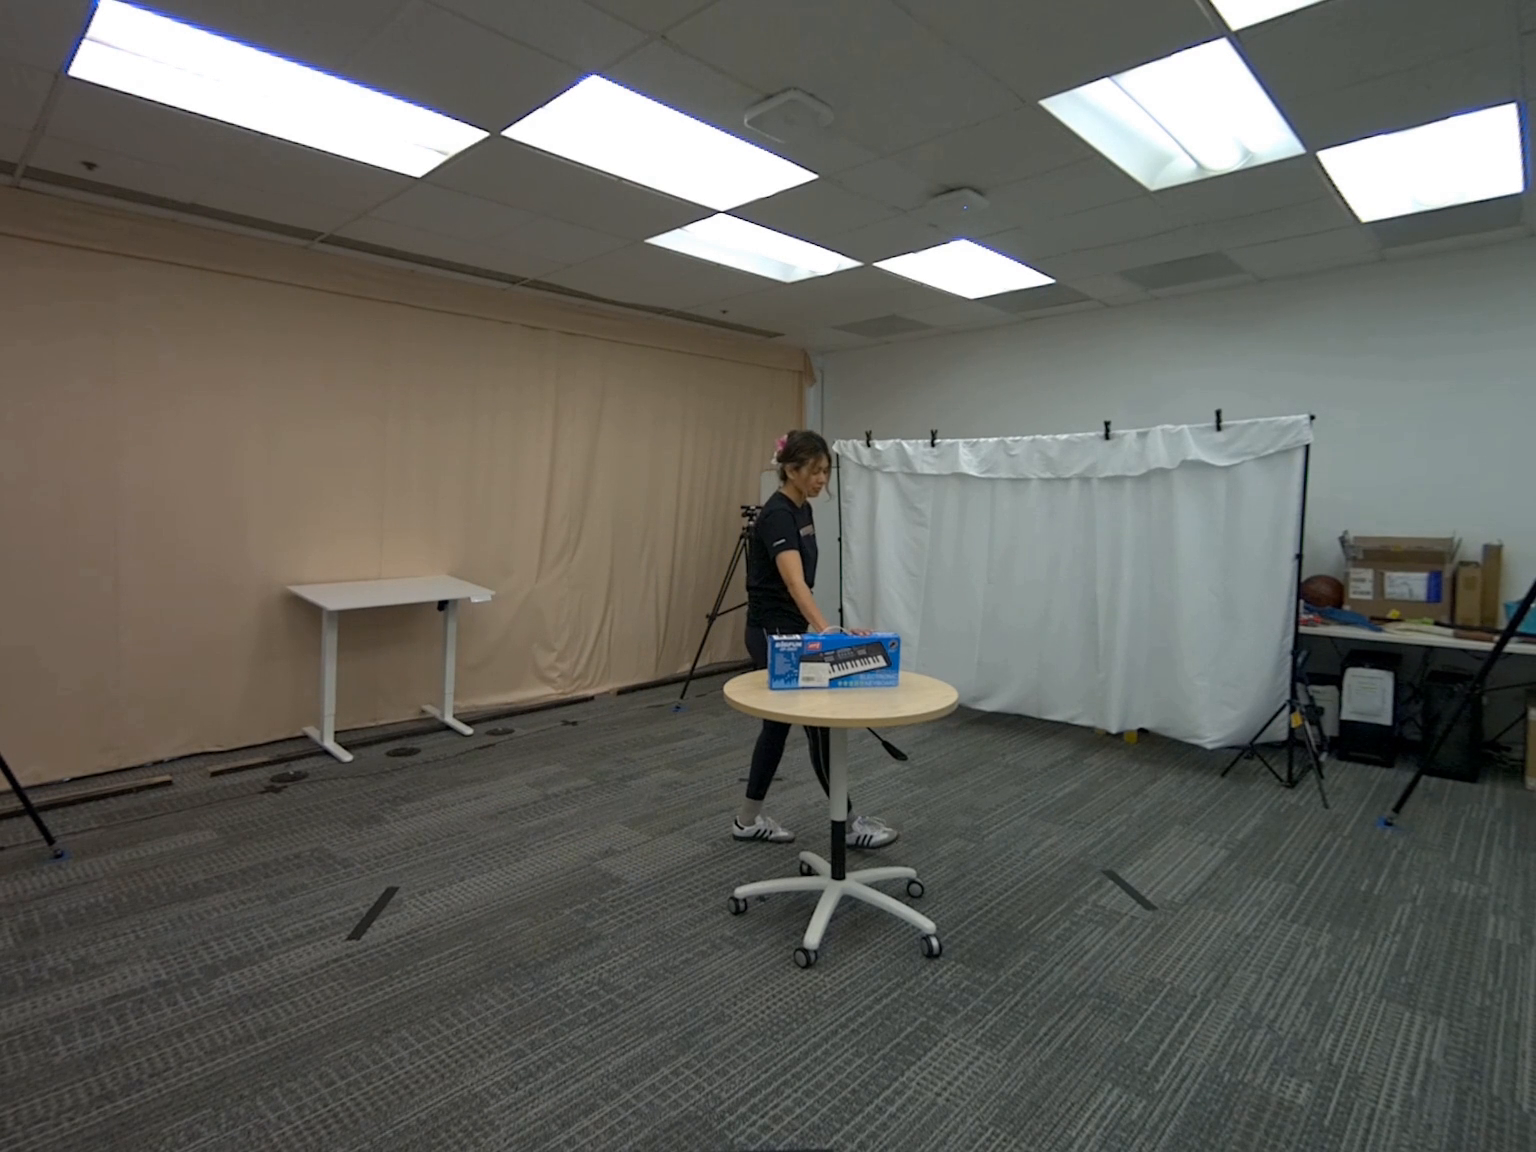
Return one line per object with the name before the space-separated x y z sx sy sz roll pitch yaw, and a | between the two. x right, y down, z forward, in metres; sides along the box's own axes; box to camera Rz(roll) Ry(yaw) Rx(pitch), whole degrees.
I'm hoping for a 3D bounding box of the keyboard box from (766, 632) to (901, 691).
keyboard box | 0.218 0.282 2.810 0.433 0.175 0.060 0 10 -7
